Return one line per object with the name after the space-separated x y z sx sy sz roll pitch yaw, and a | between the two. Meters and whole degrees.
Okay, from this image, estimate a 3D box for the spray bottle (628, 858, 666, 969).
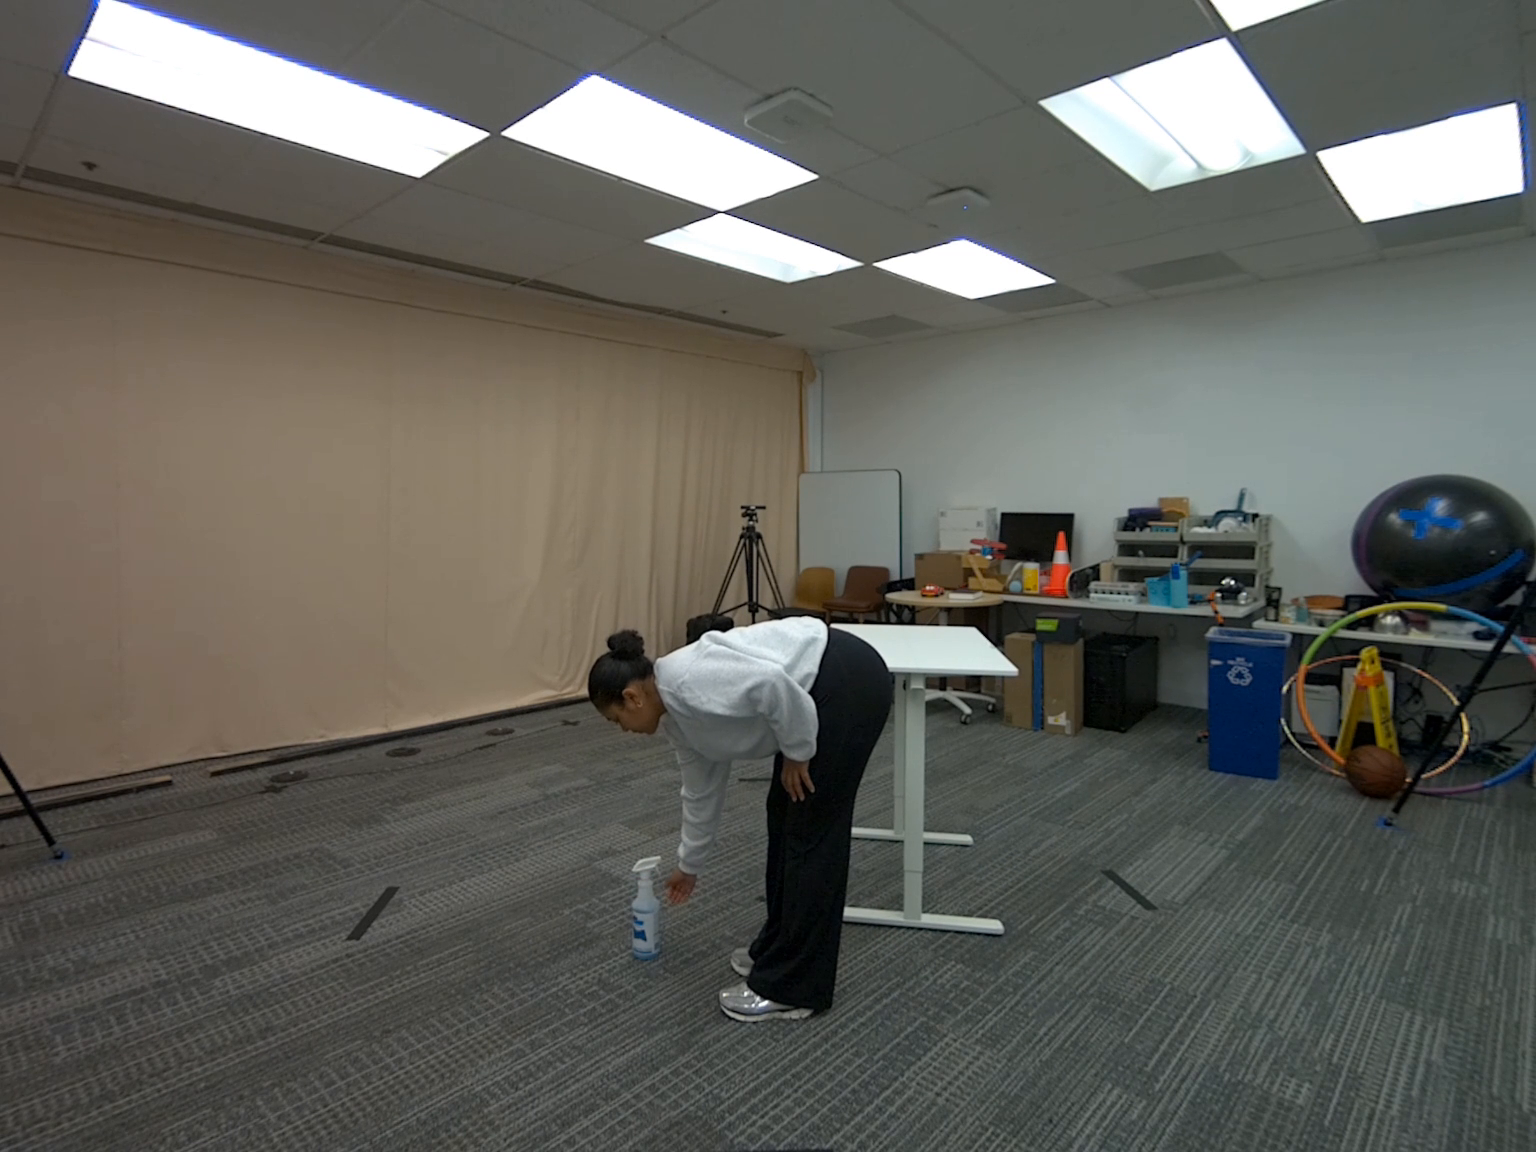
-0.375 1.035 2.612 0.090 0.297 0.087 3 2 1 | spray bottle
